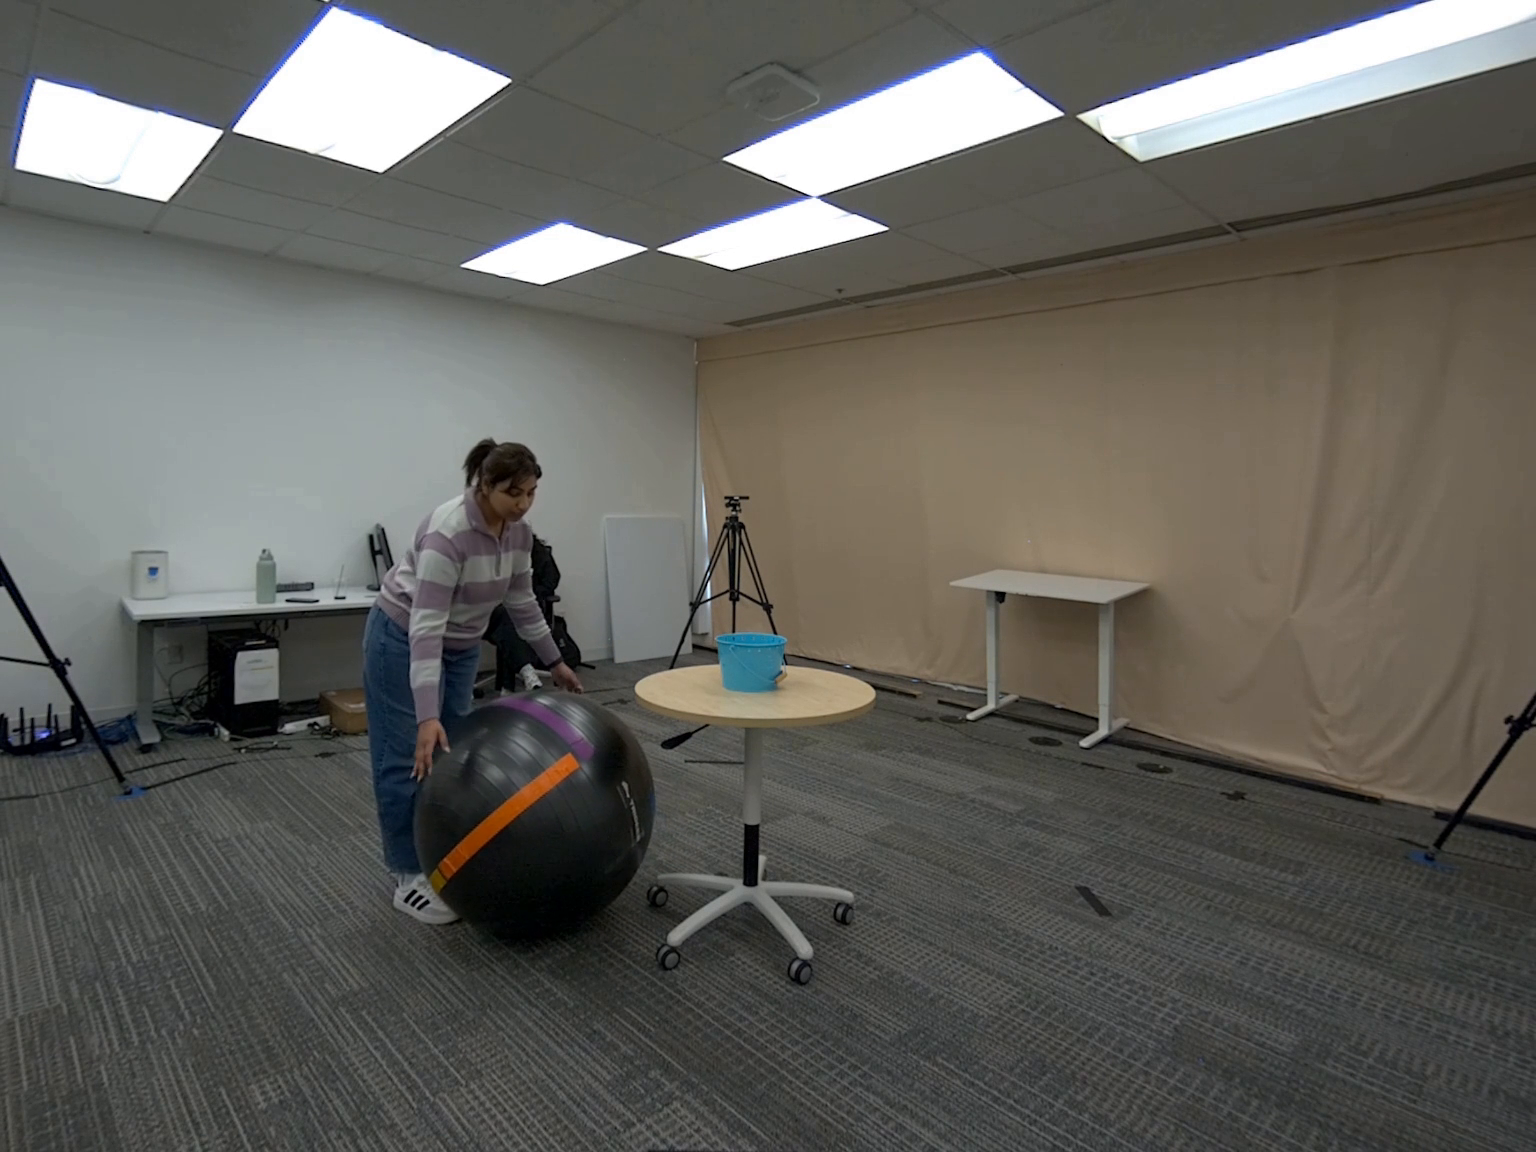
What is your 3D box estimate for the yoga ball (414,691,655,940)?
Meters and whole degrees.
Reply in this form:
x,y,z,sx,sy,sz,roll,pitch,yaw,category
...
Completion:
x,y,z,sx,sy,sz,roll,pitch,yaw,category
-0.753,0.760,2.713,0.757,0.756,0.761,1,4,-1,yoga ball
